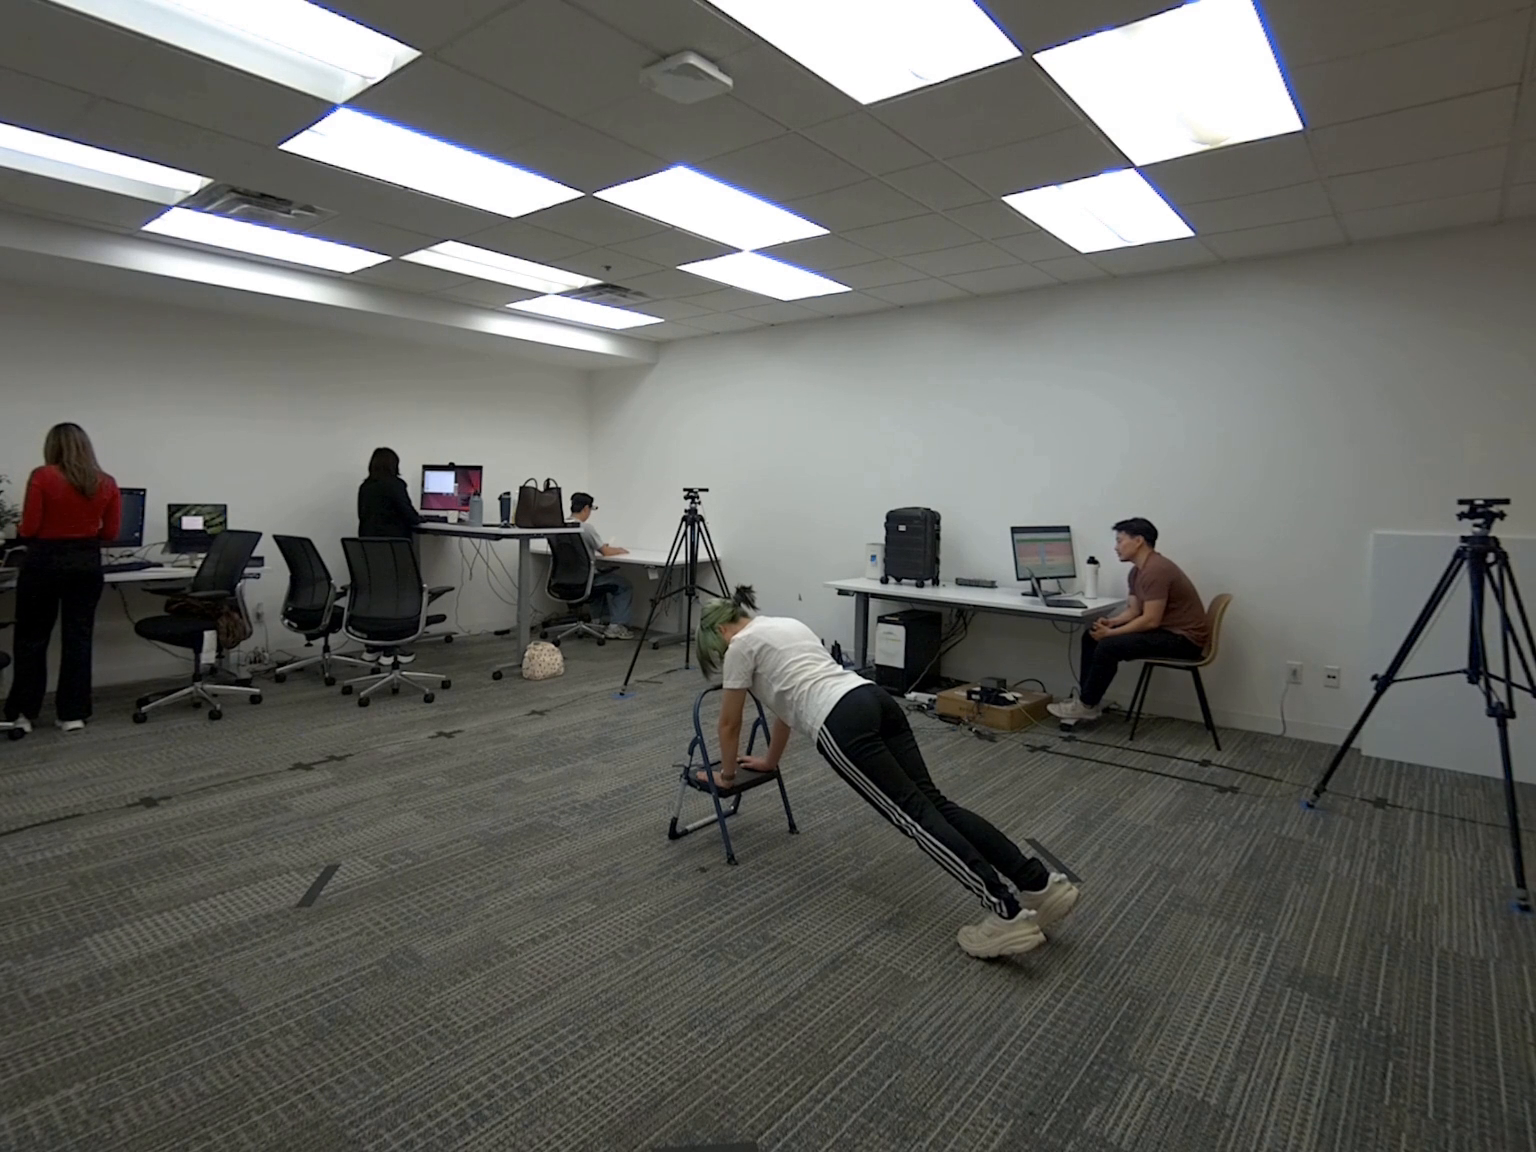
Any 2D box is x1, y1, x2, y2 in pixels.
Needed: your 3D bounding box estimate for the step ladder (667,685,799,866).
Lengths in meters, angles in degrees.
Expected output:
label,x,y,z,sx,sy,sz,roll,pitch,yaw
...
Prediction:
label,x,y,z,sx,sy,sz,roll,pitch,yaw
step ladder,-0.143,0.740,3.403,0.361,0.604,0.418,4,4,38
